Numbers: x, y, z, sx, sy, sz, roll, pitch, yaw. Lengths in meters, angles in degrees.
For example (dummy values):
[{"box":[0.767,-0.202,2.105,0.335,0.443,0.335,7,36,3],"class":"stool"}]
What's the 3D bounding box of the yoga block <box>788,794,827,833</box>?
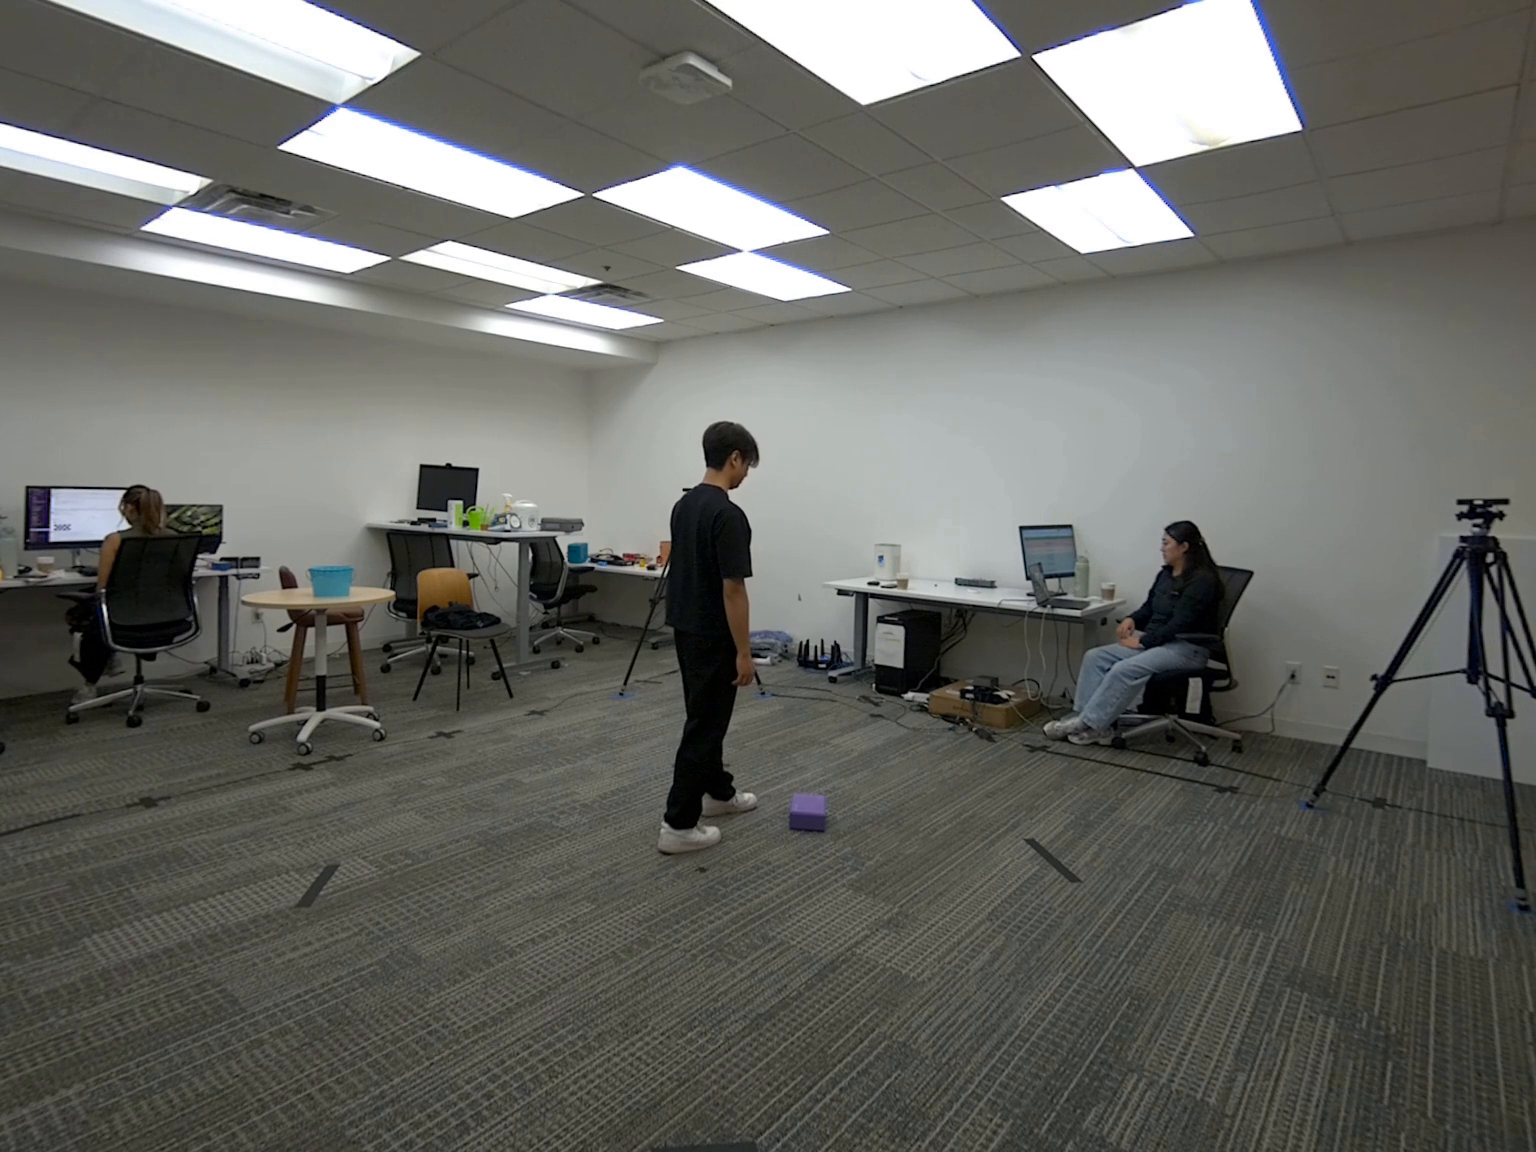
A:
[{"box":[0.163,0.991,3.587,0.150,0.076,0.228,1,6,6],"class":"yoga block"}]
